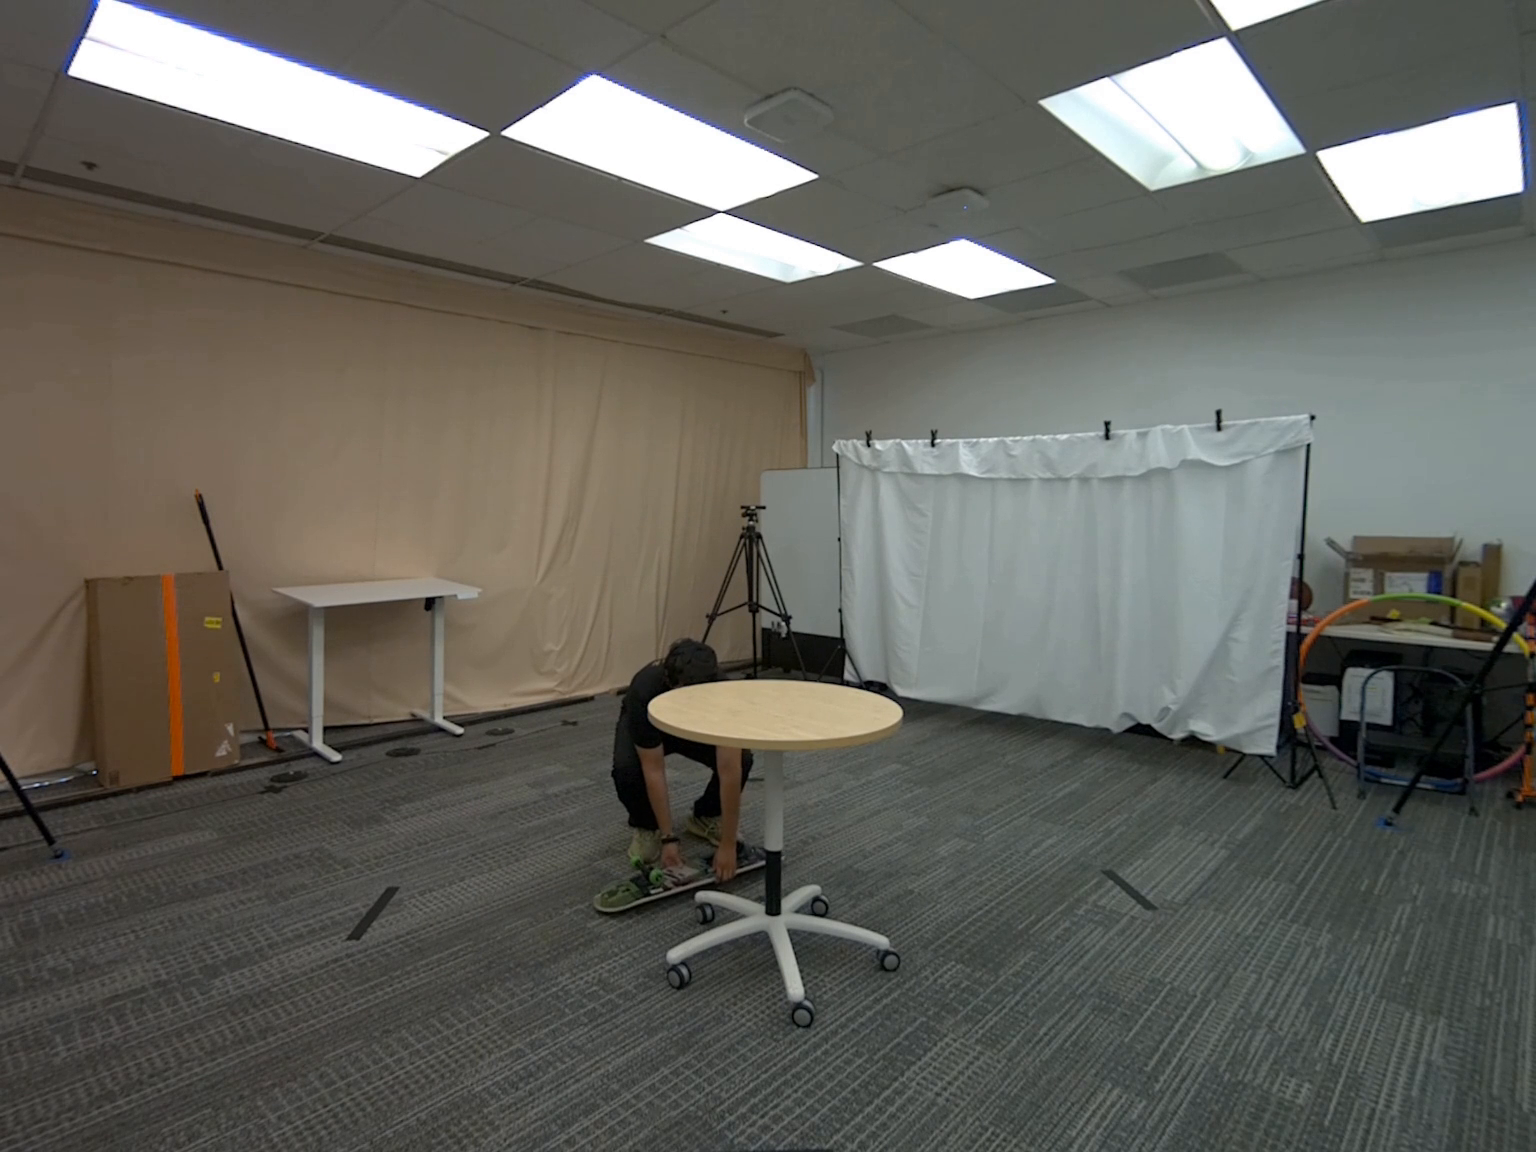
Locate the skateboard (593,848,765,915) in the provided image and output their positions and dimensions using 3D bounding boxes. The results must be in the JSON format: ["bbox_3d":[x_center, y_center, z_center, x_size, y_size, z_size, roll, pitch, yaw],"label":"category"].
[{"bbox_3d":[-0.273,1.054,3.091,0.763,0.110,0.199,-4,3,-34],"label":"skateboard"}]
